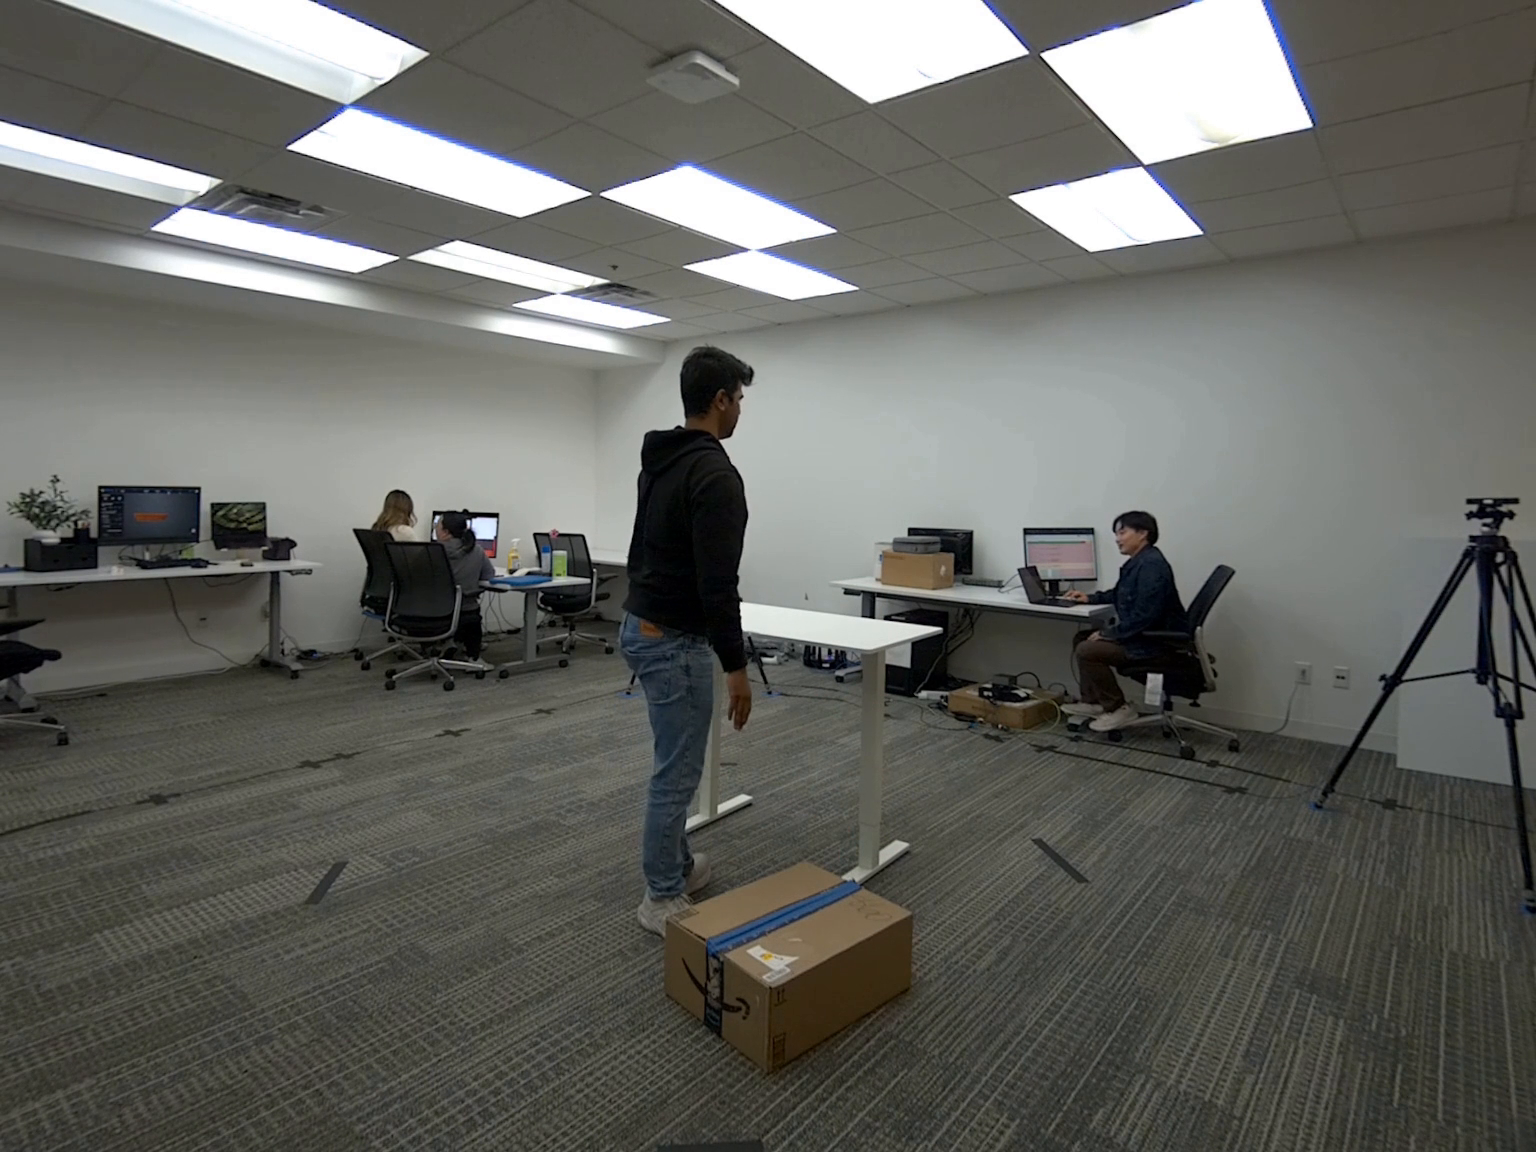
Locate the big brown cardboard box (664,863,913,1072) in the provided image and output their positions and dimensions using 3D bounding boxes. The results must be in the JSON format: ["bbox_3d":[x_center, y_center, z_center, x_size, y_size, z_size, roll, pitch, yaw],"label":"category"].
[{"bbox_3d":[0.052,1.037,2.350,0.571,0.232,0.432,-3,7,-43],"label":"big brown cardboard box"}]
